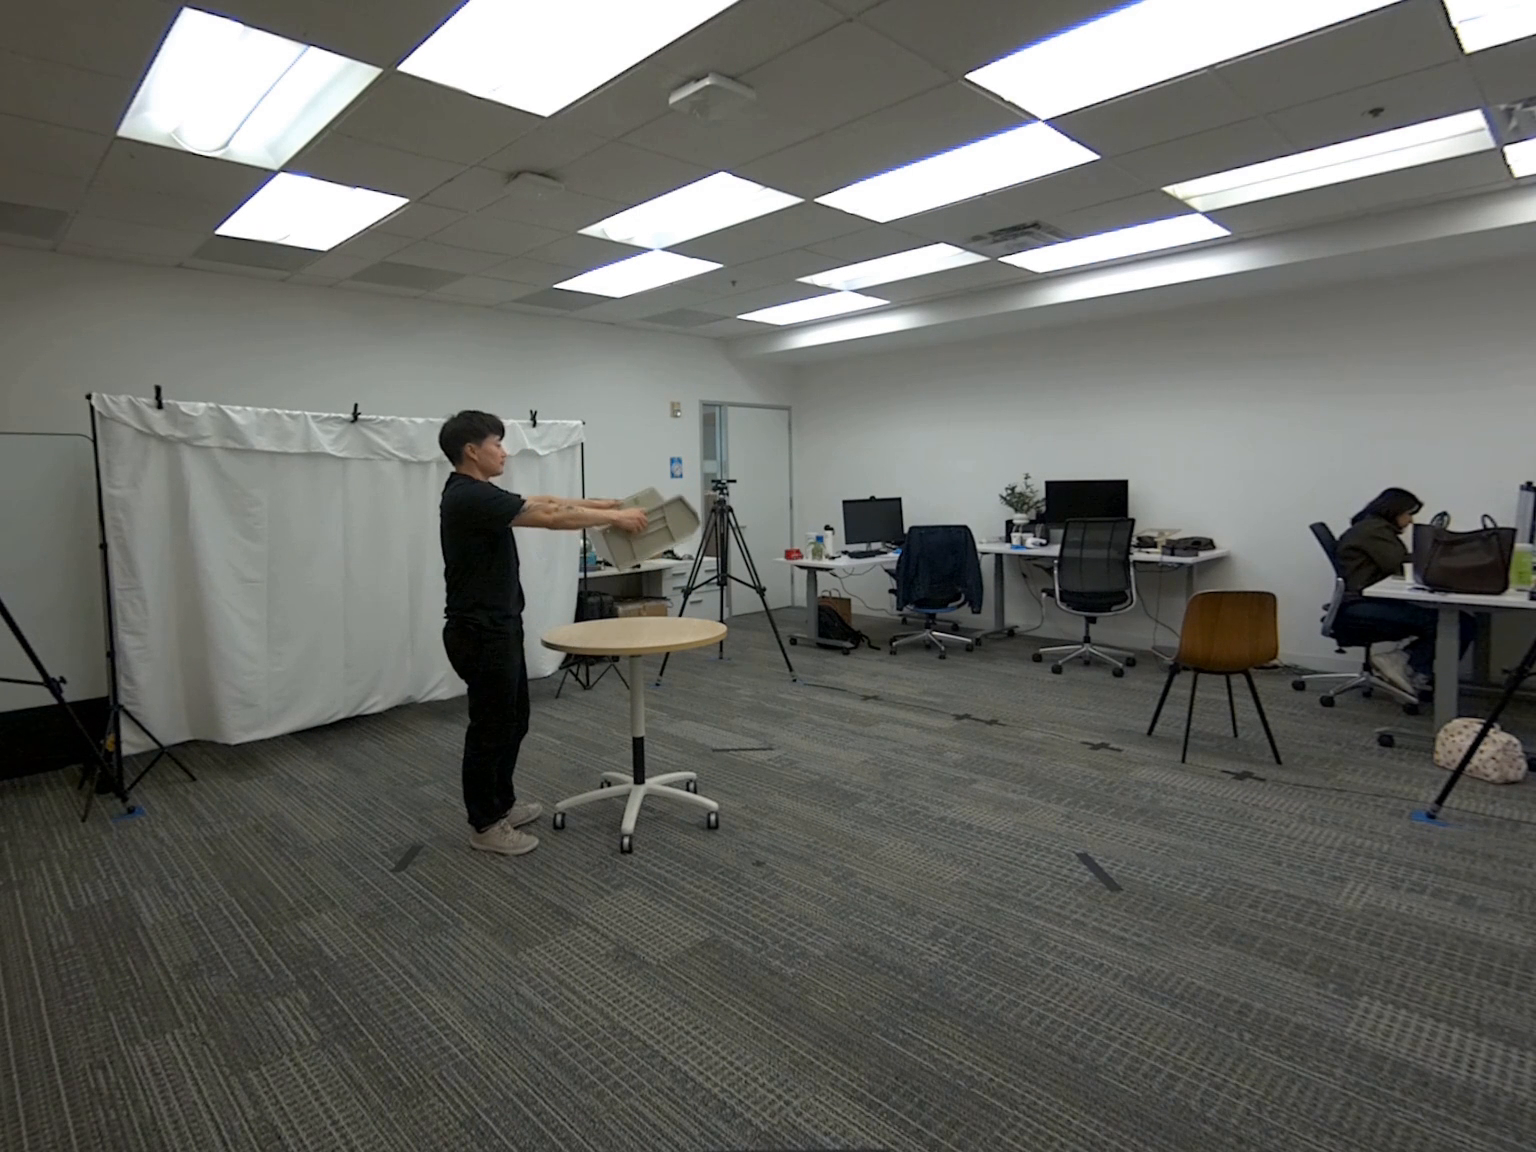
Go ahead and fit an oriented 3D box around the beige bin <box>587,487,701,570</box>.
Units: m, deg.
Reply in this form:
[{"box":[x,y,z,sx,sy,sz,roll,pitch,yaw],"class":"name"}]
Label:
[{"box":[-0.519,-0.195,3.427,0.374,0.185,0.434,-27,19,-16],"class":"beige bin"}]
